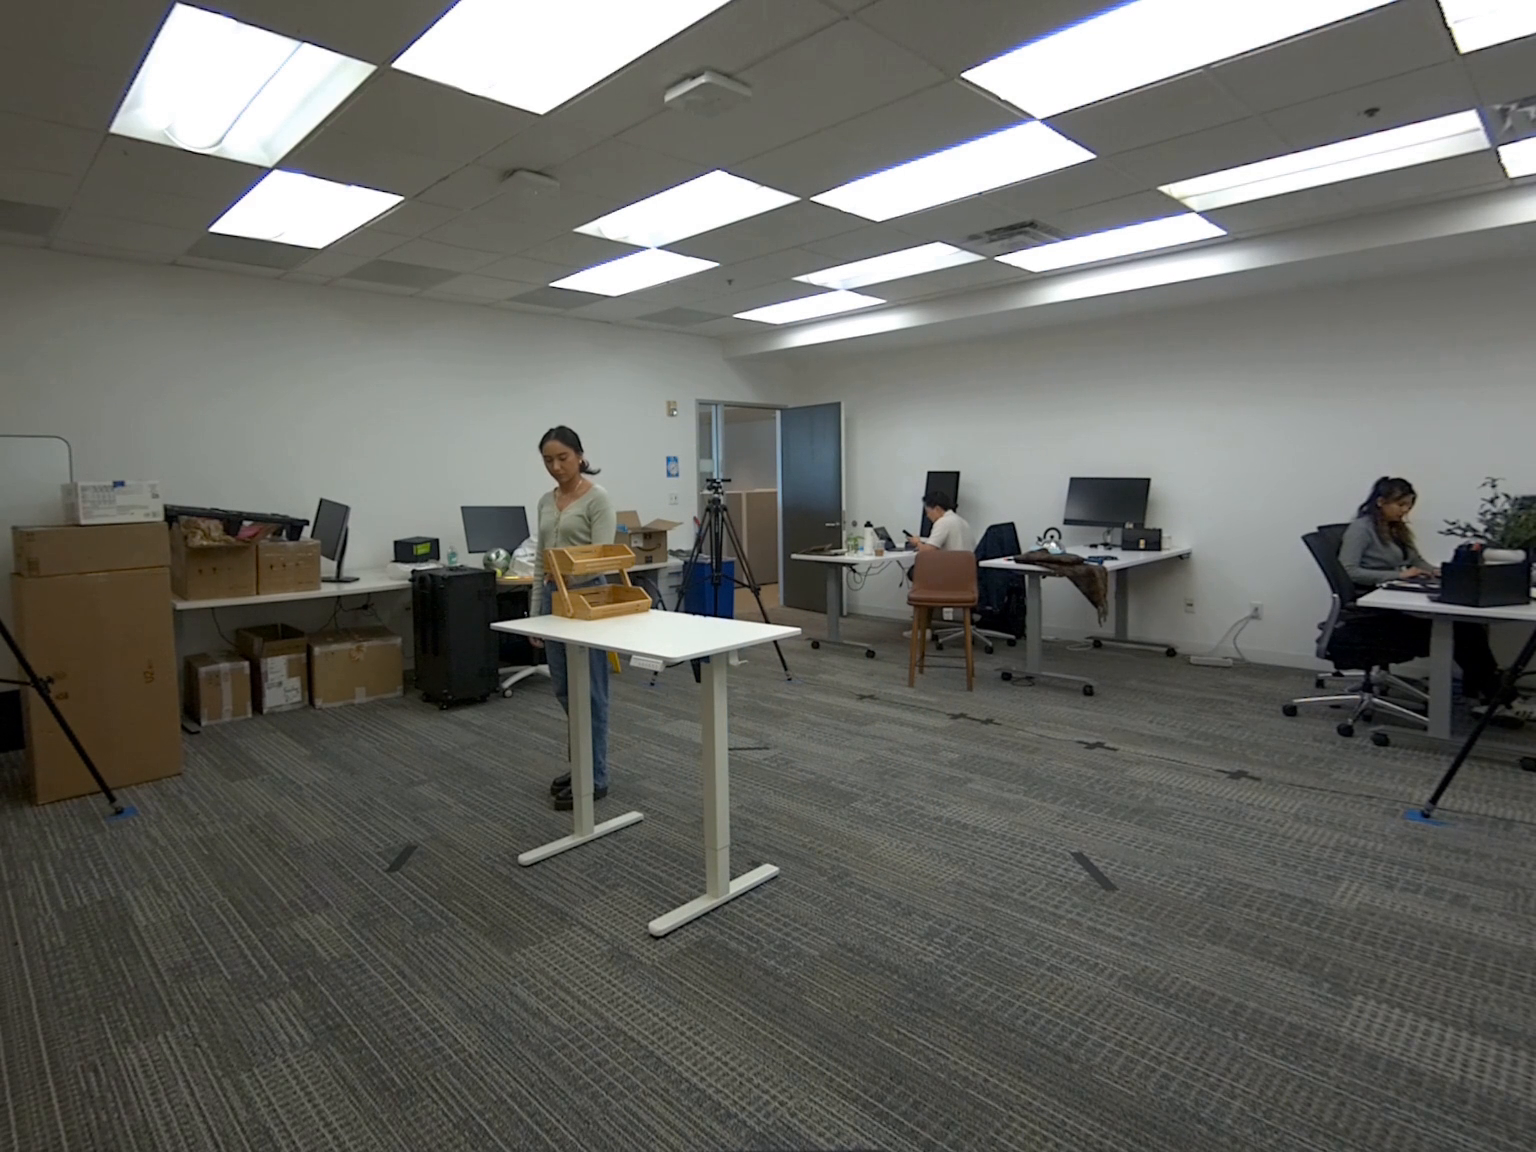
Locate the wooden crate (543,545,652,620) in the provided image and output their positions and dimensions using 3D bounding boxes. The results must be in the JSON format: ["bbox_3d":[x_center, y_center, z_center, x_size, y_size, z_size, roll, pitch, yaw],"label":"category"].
[{"bbox_3d":[-0.669,0.015,3.366,0.311,0.272,0.316,2,6,43],"label":"wooden crate"}]
